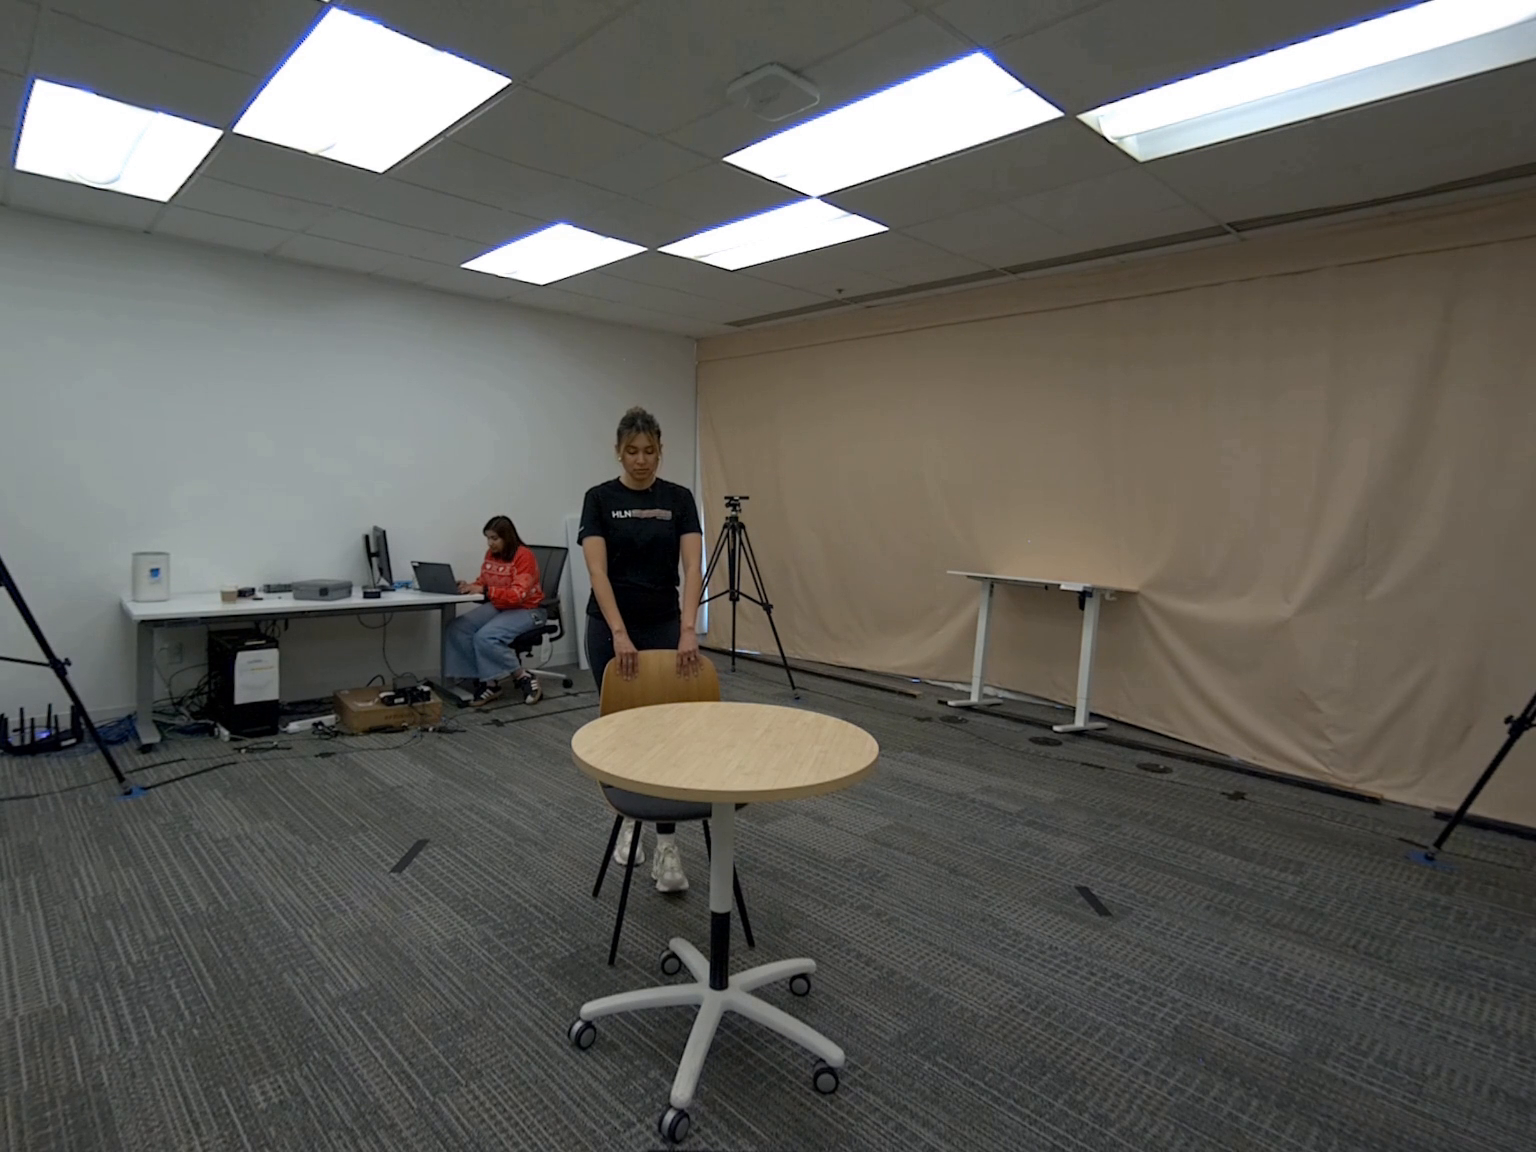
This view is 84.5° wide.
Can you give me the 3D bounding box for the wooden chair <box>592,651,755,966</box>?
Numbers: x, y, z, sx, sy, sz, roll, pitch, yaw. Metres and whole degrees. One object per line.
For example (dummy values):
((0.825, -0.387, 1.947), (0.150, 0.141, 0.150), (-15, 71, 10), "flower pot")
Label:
((-0.318, 0.710, 2.720), (0.472, 0.878, 0.529), (1, -1, -17), "wooden chair")
